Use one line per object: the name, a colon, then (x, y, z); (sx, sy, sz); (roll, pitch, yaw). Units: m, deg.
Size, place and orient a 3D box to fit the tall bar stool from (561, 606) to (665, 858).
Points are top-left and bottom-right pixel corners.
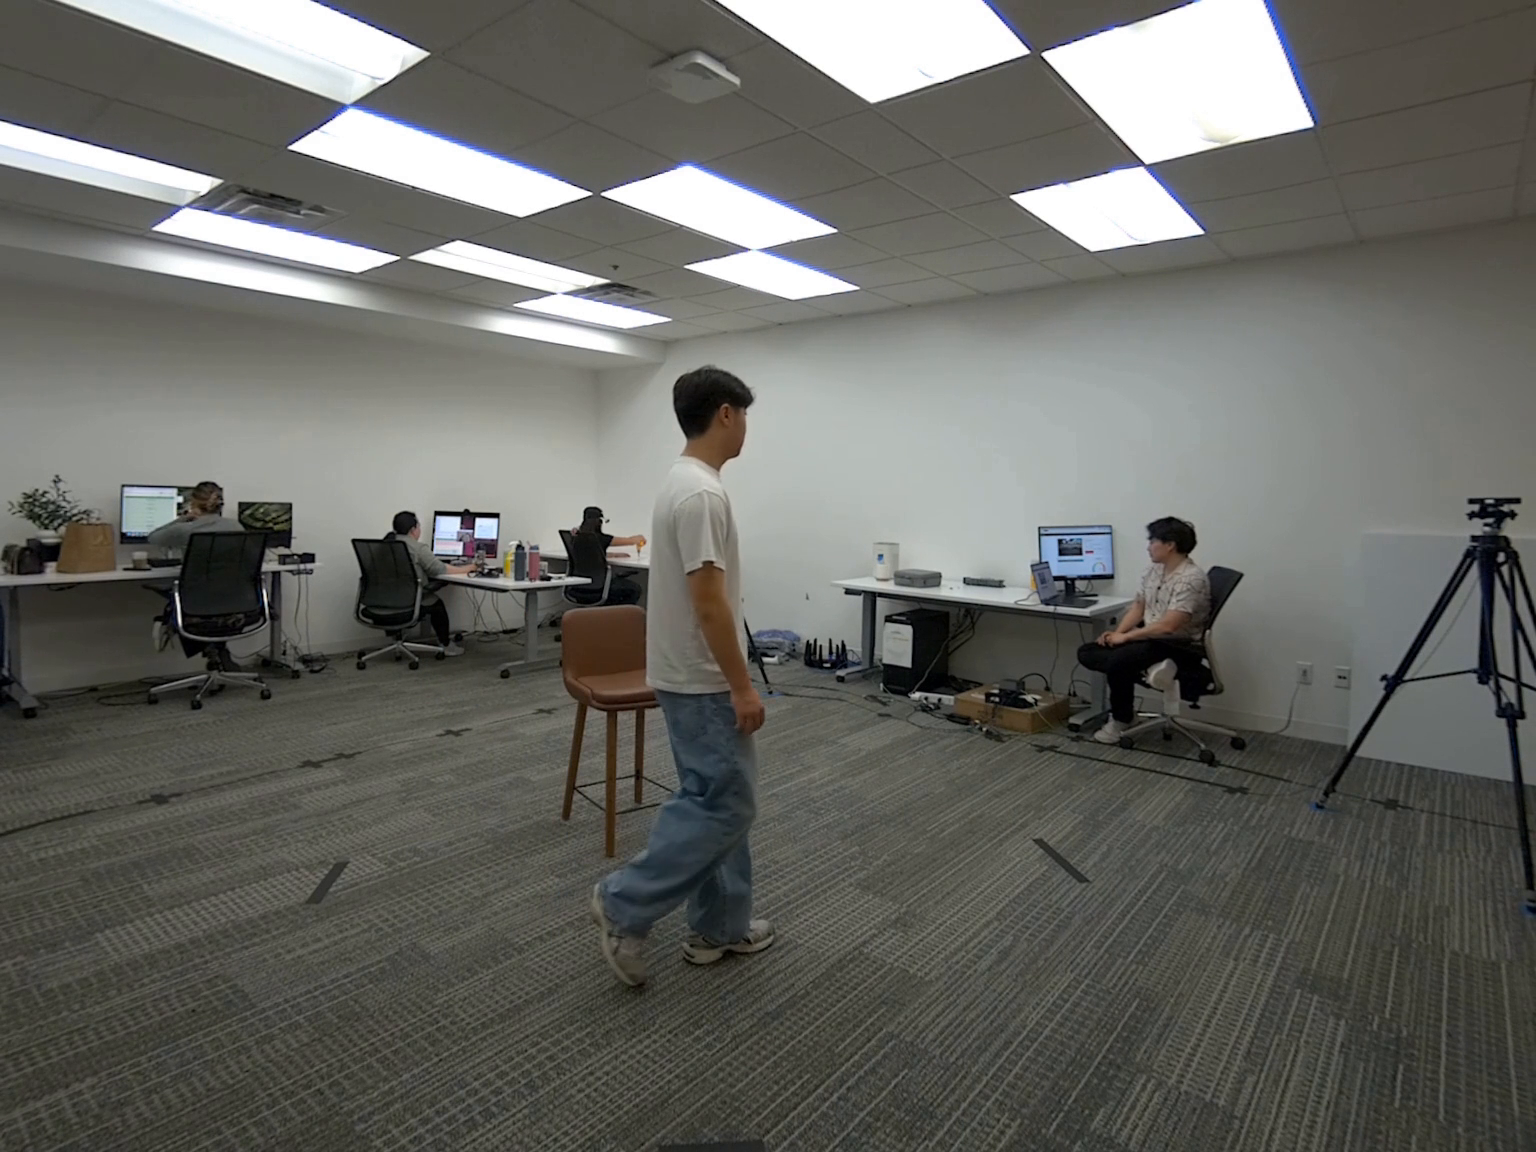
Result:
tall bar stool: (-0.587, 0.587, 3.458); (0.443, 0.888, 0.482); (-2, 3, -37)
